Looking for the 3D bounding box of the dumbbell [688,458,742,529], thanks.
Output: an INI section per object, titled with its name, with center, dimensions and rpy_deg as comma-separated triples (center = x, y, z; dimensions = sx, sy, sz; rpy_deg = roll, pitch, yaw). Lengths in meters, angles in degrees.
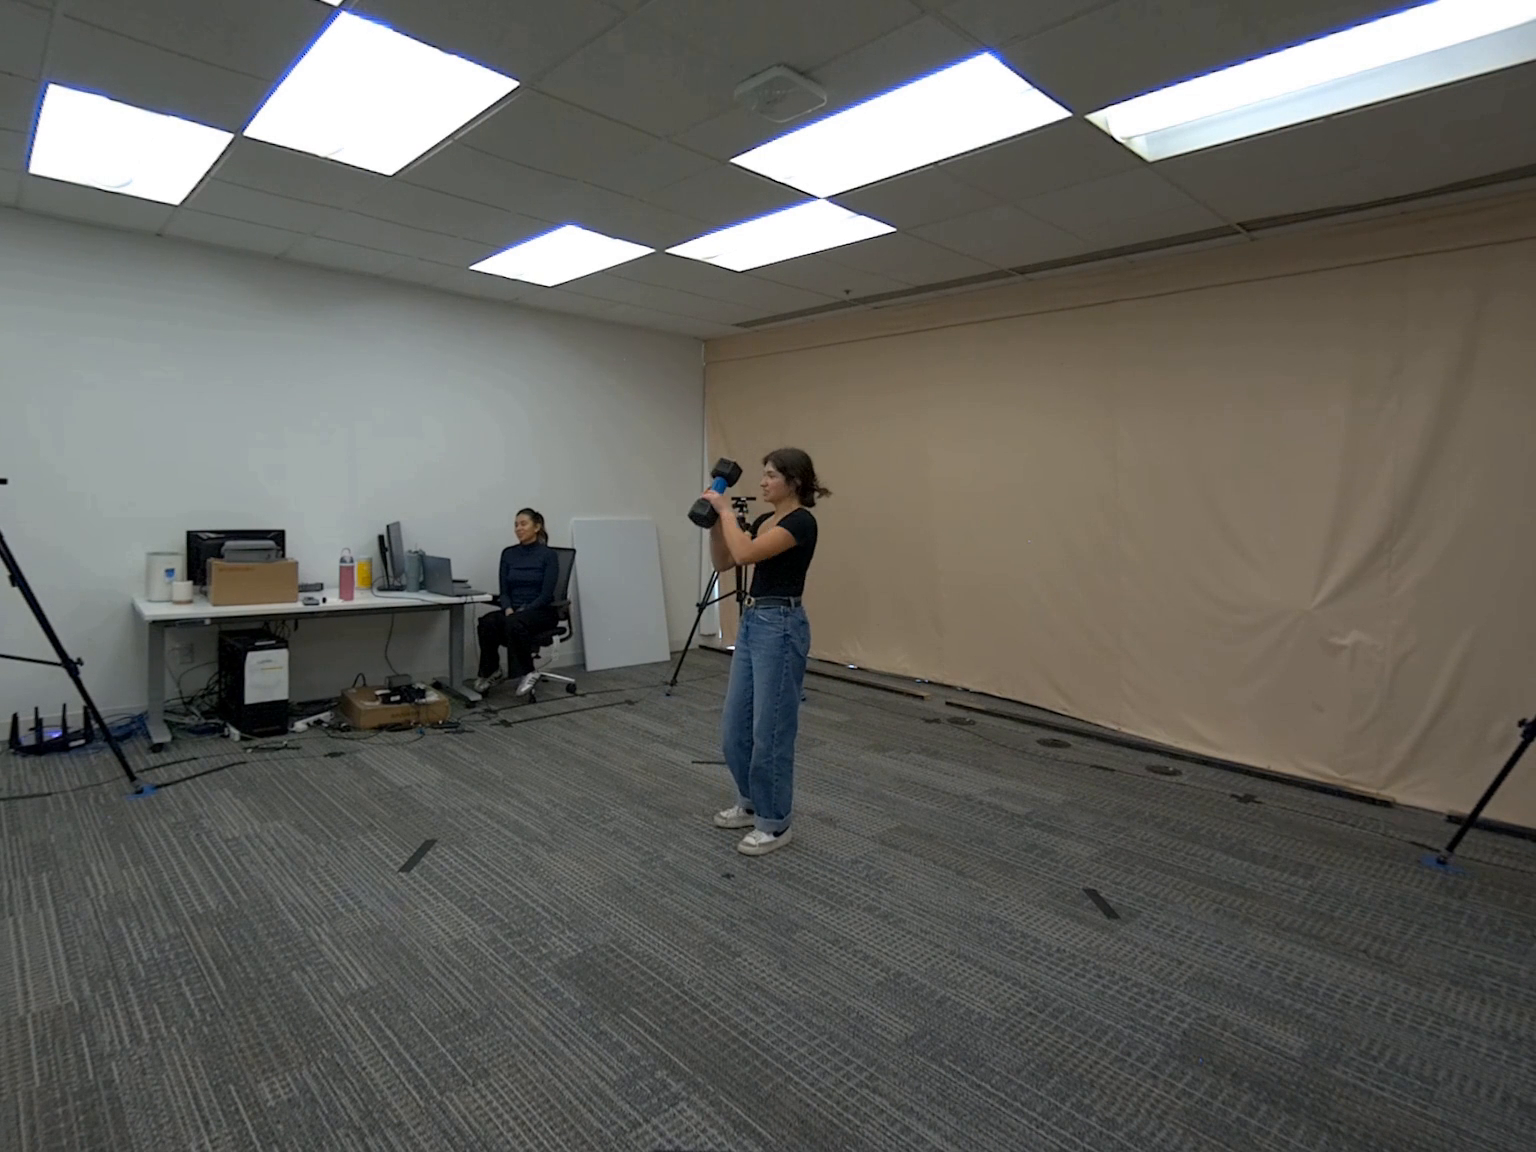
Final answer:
[dumbbell]
center = -0.217, -0.333, 3.391
dimensions = 0.111, 0.295, 0.119
rpy_deg = 5, -32, 42
